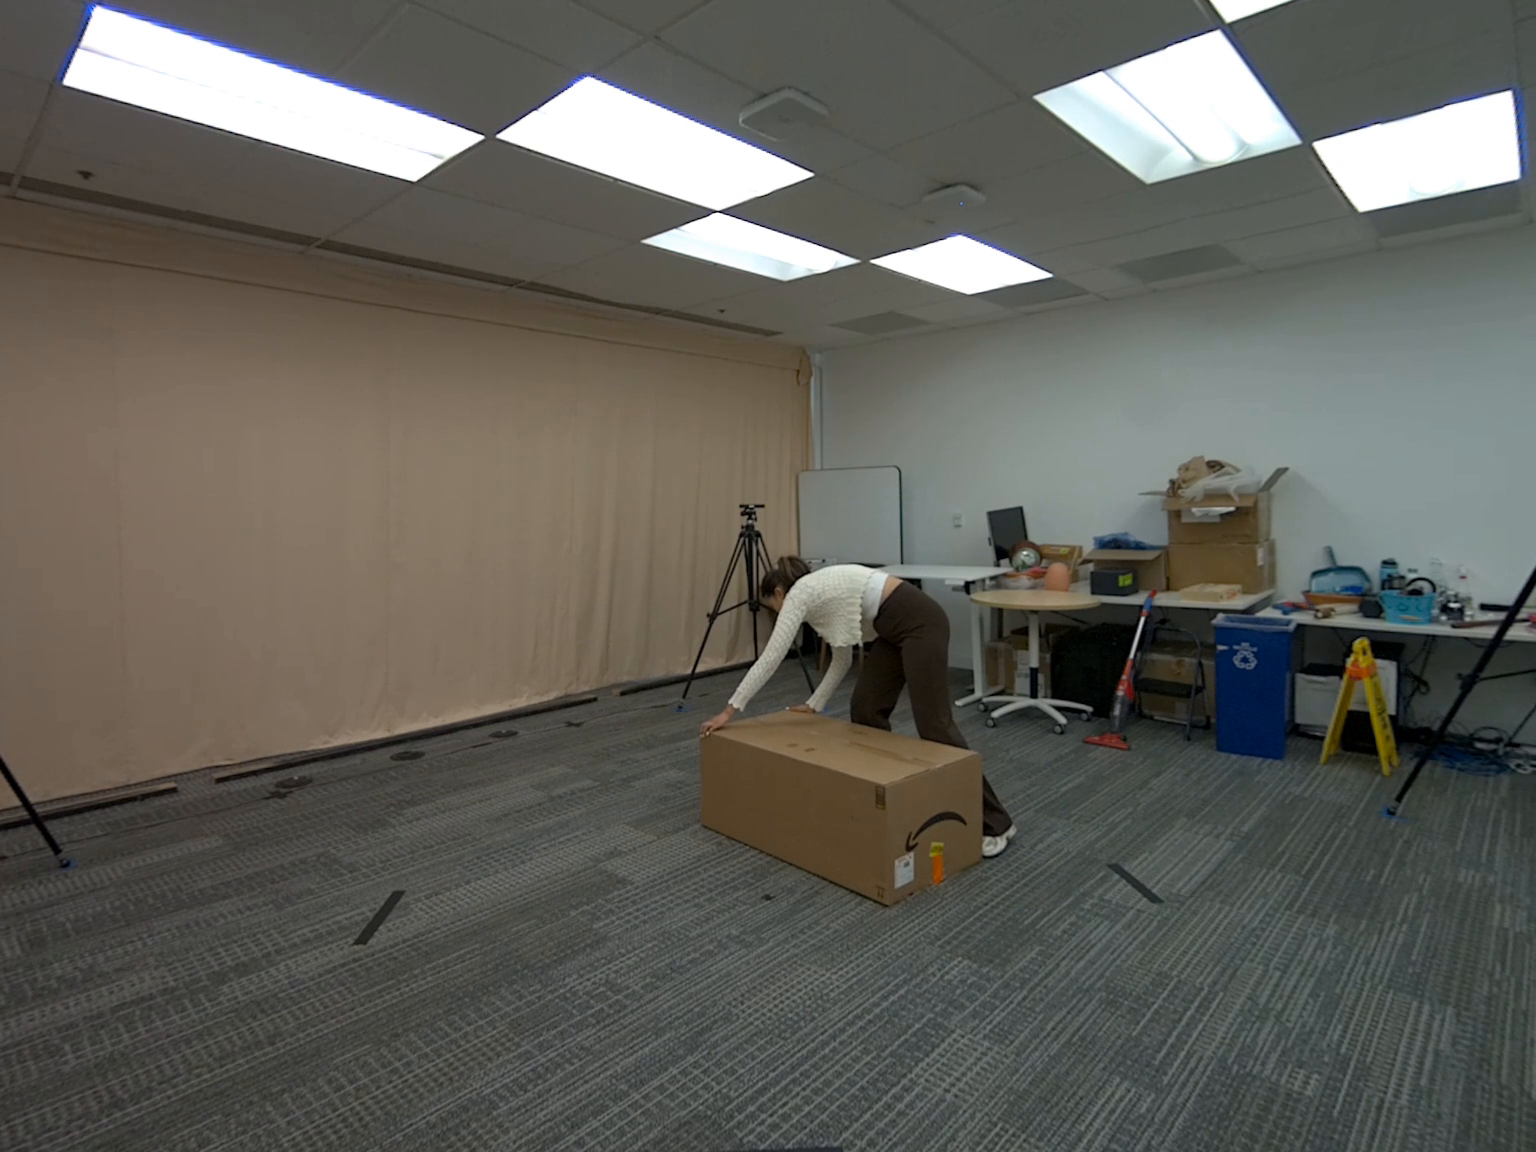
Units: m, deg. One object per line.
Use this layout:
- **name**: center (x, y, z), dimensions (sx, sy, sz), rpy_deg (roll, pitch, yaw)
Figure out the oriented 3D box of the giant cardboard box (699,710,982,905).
- **giant cardboard box**: center (0.262, 0.884, 3.445), dimensions (0.560, 0.425, 1.060), rpy_deg (-4, 5, -41)
